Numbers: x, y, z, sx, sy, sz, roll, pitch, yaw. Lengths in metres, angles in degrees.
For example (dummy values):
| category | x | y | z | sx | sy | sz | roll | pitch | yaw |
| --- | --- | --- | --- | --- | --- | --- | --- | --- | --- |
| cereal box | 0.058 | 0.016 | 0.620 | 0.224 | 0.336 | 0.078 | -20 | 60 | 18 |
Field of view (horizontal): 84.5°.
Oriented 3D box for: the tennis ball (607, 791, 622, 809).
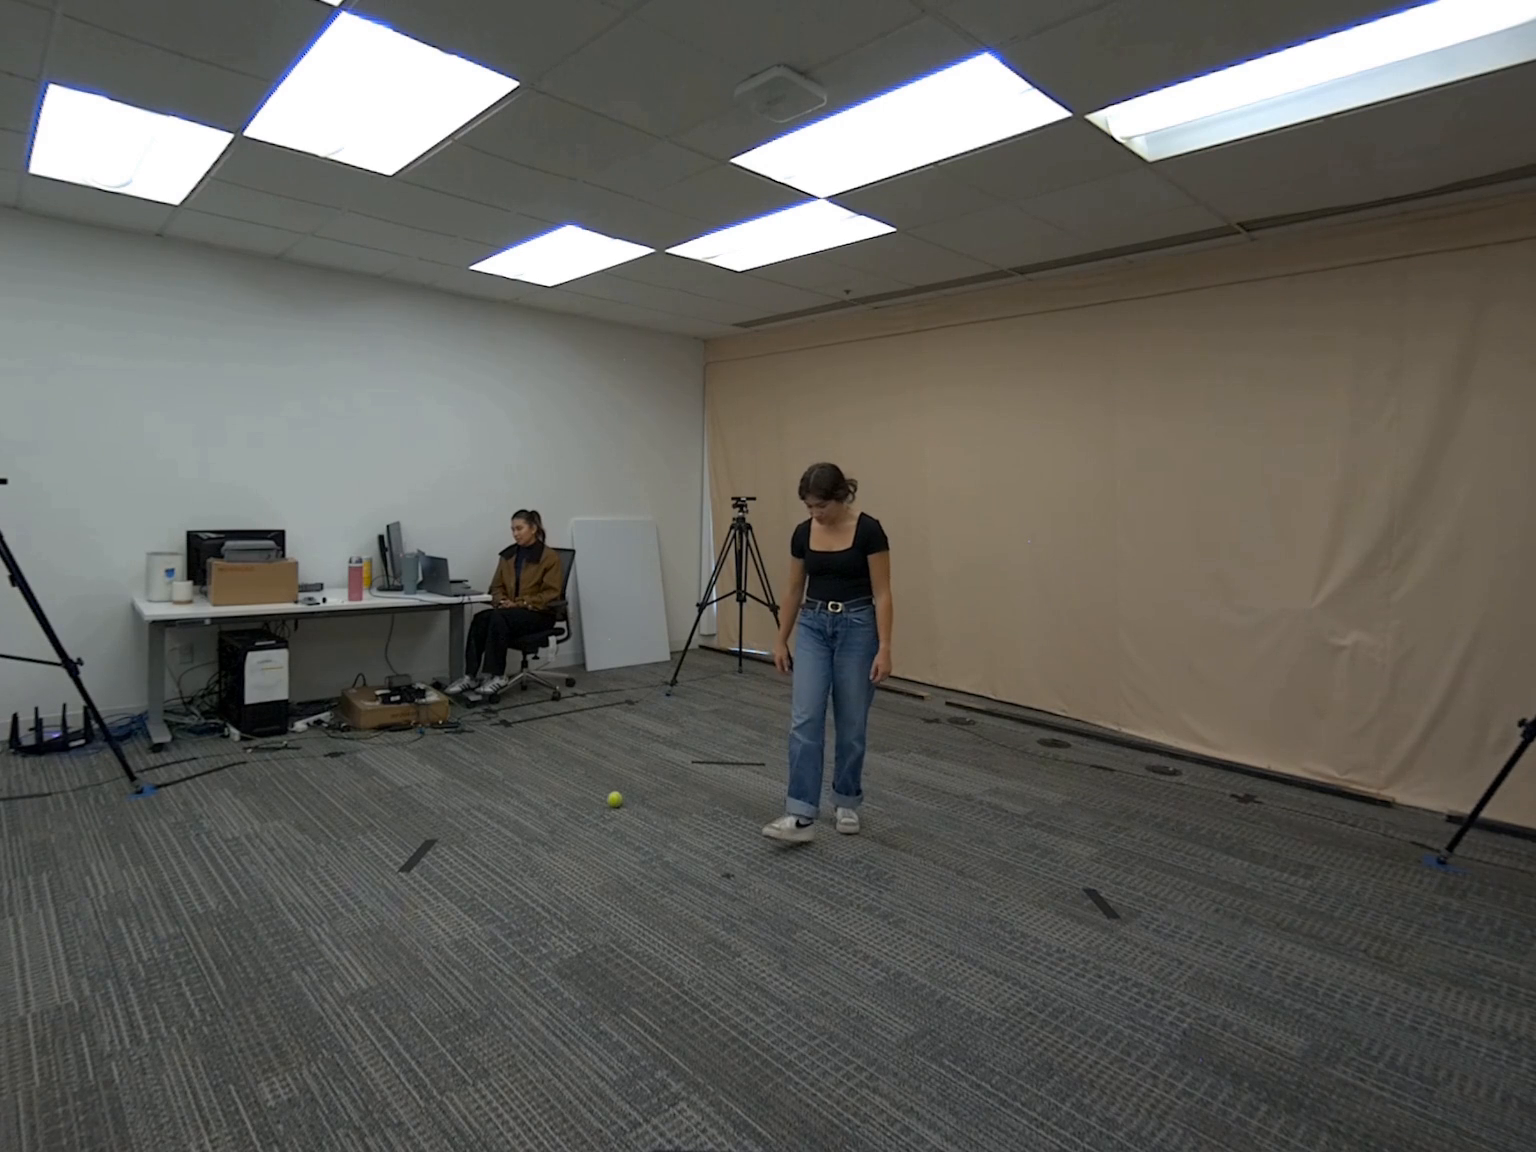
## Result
| category | x | y | z | sx | sy | sz | roll | pitch | yaw |
| --- | --- | --- | --- | --- | --- | --- | --- | --- | --- |
| tennis ball | -0.684 | 0.994 | 3.775 | 0.066 | 0.066 | 0.067 | 1 | 4 | -1 |
